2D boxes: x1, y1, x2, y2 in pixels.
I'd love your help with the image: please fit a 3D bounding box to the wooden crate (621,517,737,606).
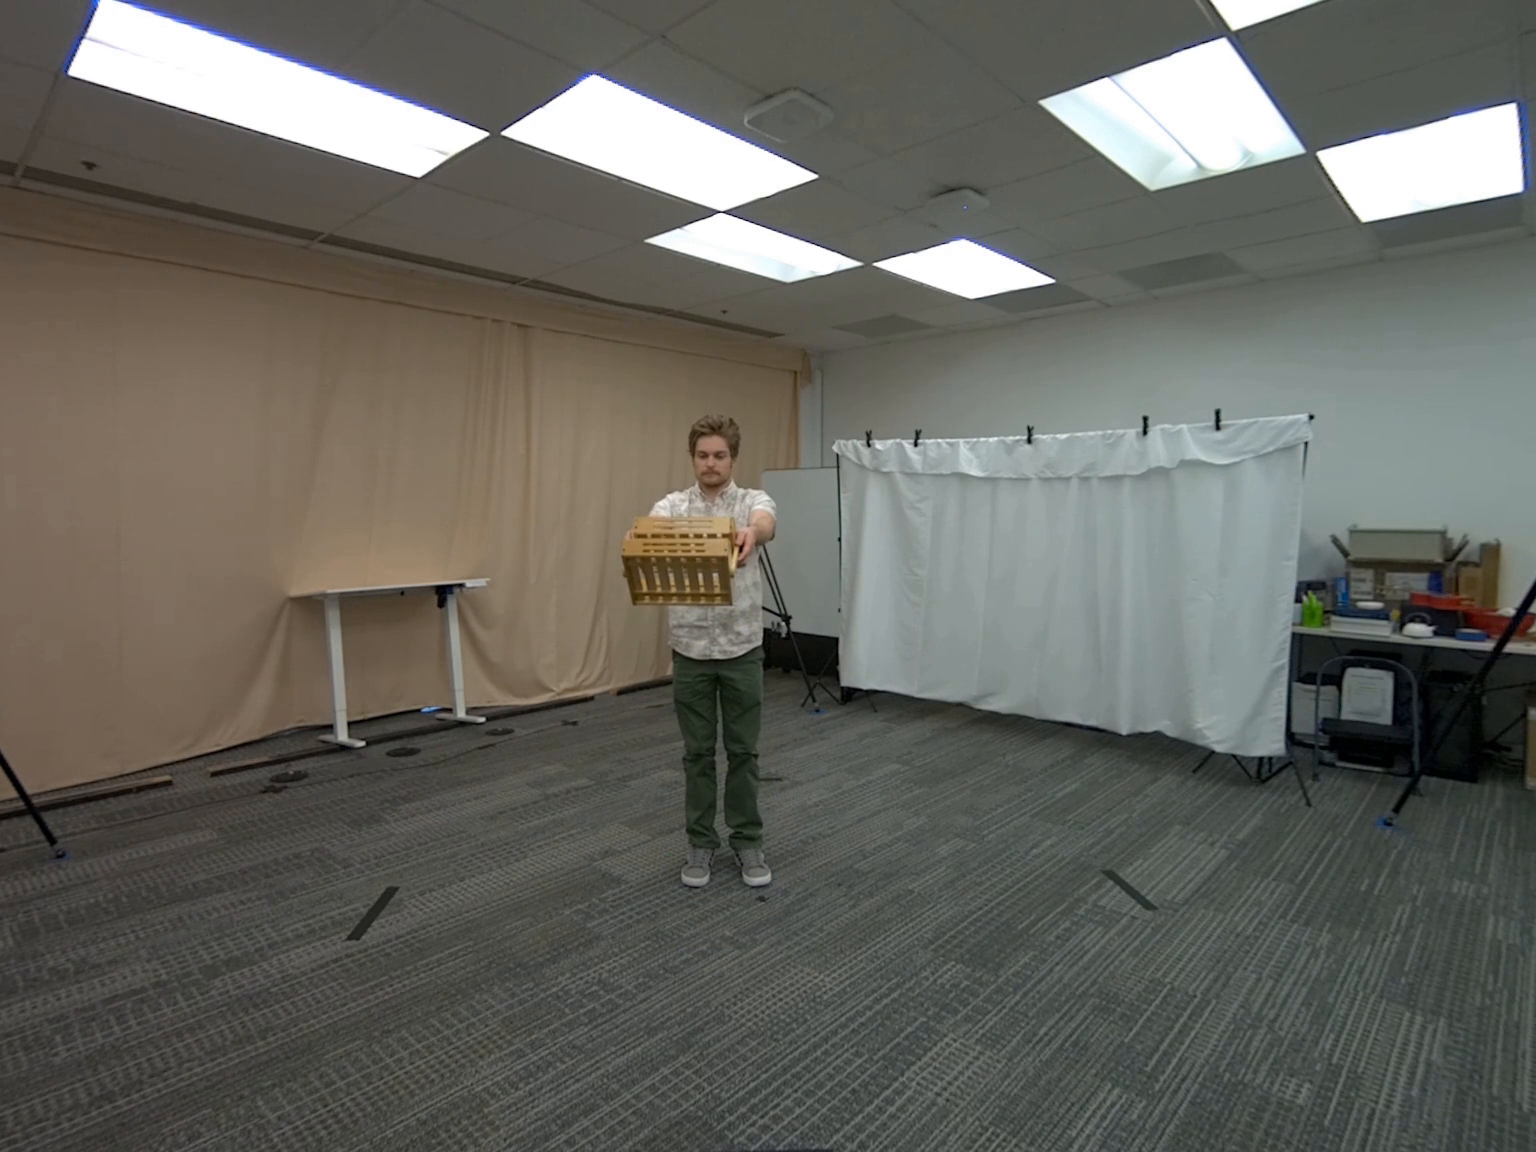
[{"bbox_3d":[-0.250,-0.073,2.526,0.327,0.277,0.295,1,-41,5],"label":"wooden crate"}]
